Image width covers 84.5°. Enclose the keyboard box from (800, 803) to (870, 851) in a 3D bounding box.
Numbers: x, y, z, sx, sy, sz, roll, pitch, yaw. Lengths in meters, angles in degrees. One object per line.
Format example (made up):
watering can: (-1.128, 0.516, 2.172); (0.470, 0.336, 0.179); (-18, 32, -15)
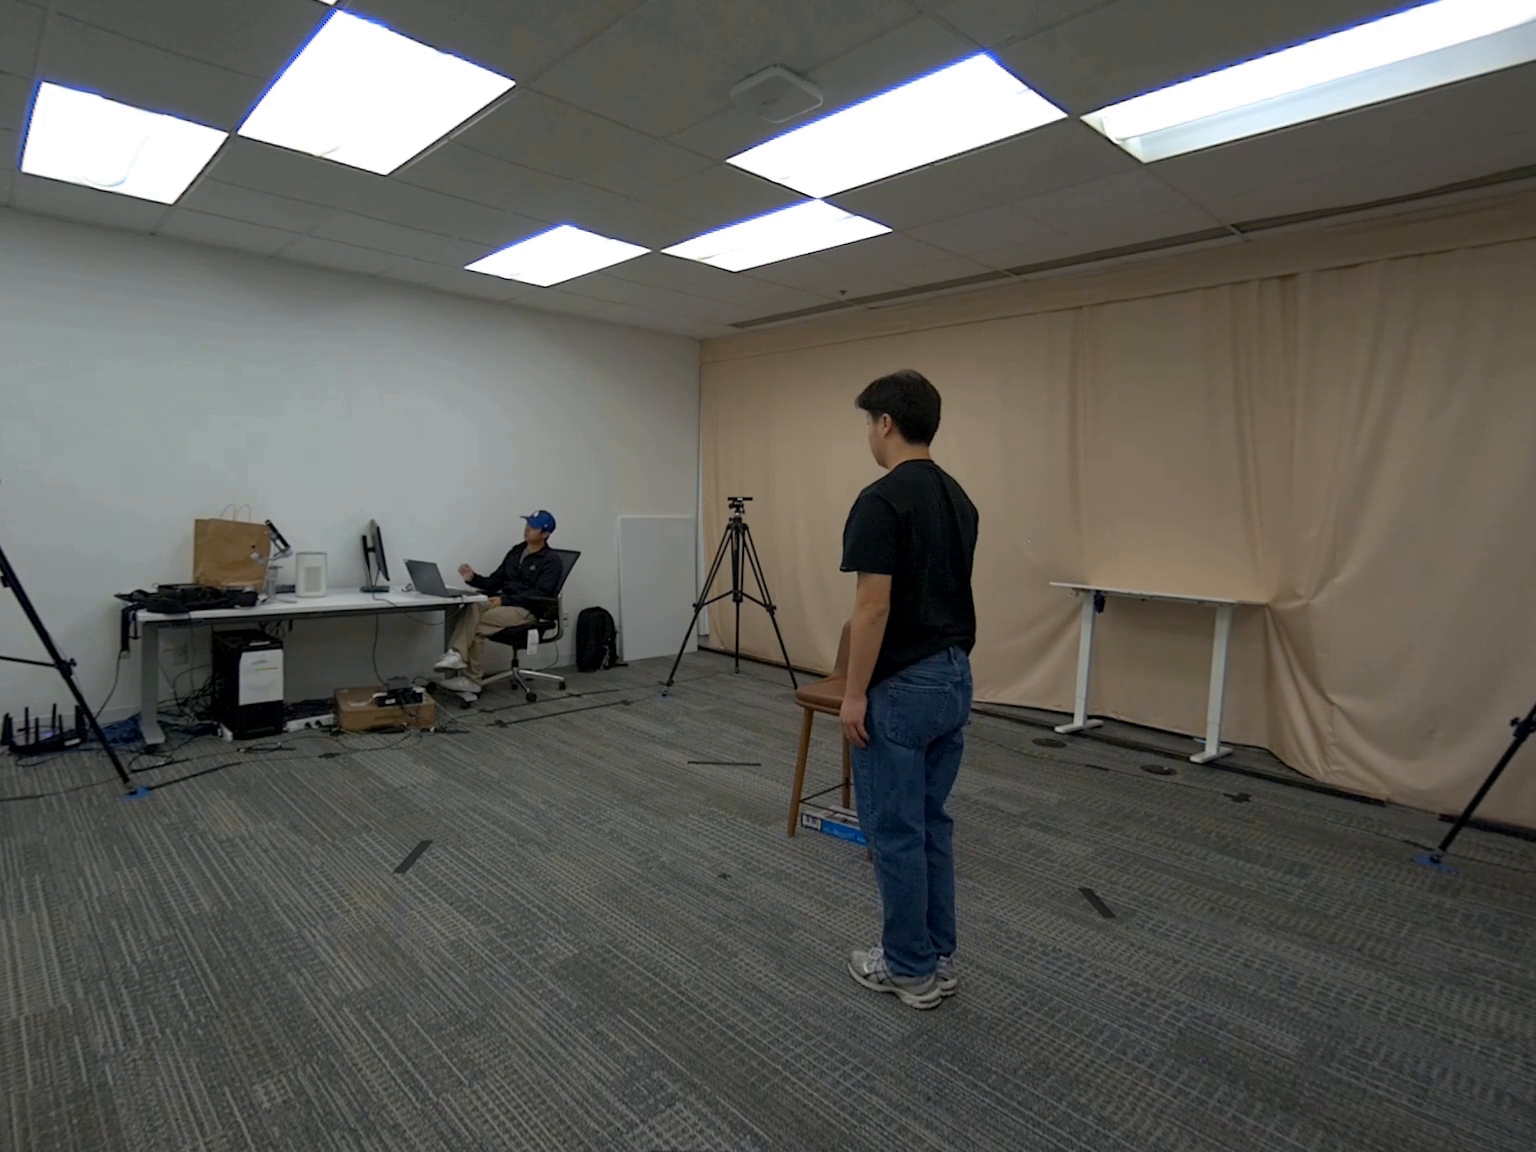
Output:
keyboard box: (0.365, 1.058, 3.542); (0.448, 0.059, 0.172); (6, 6, 38)
